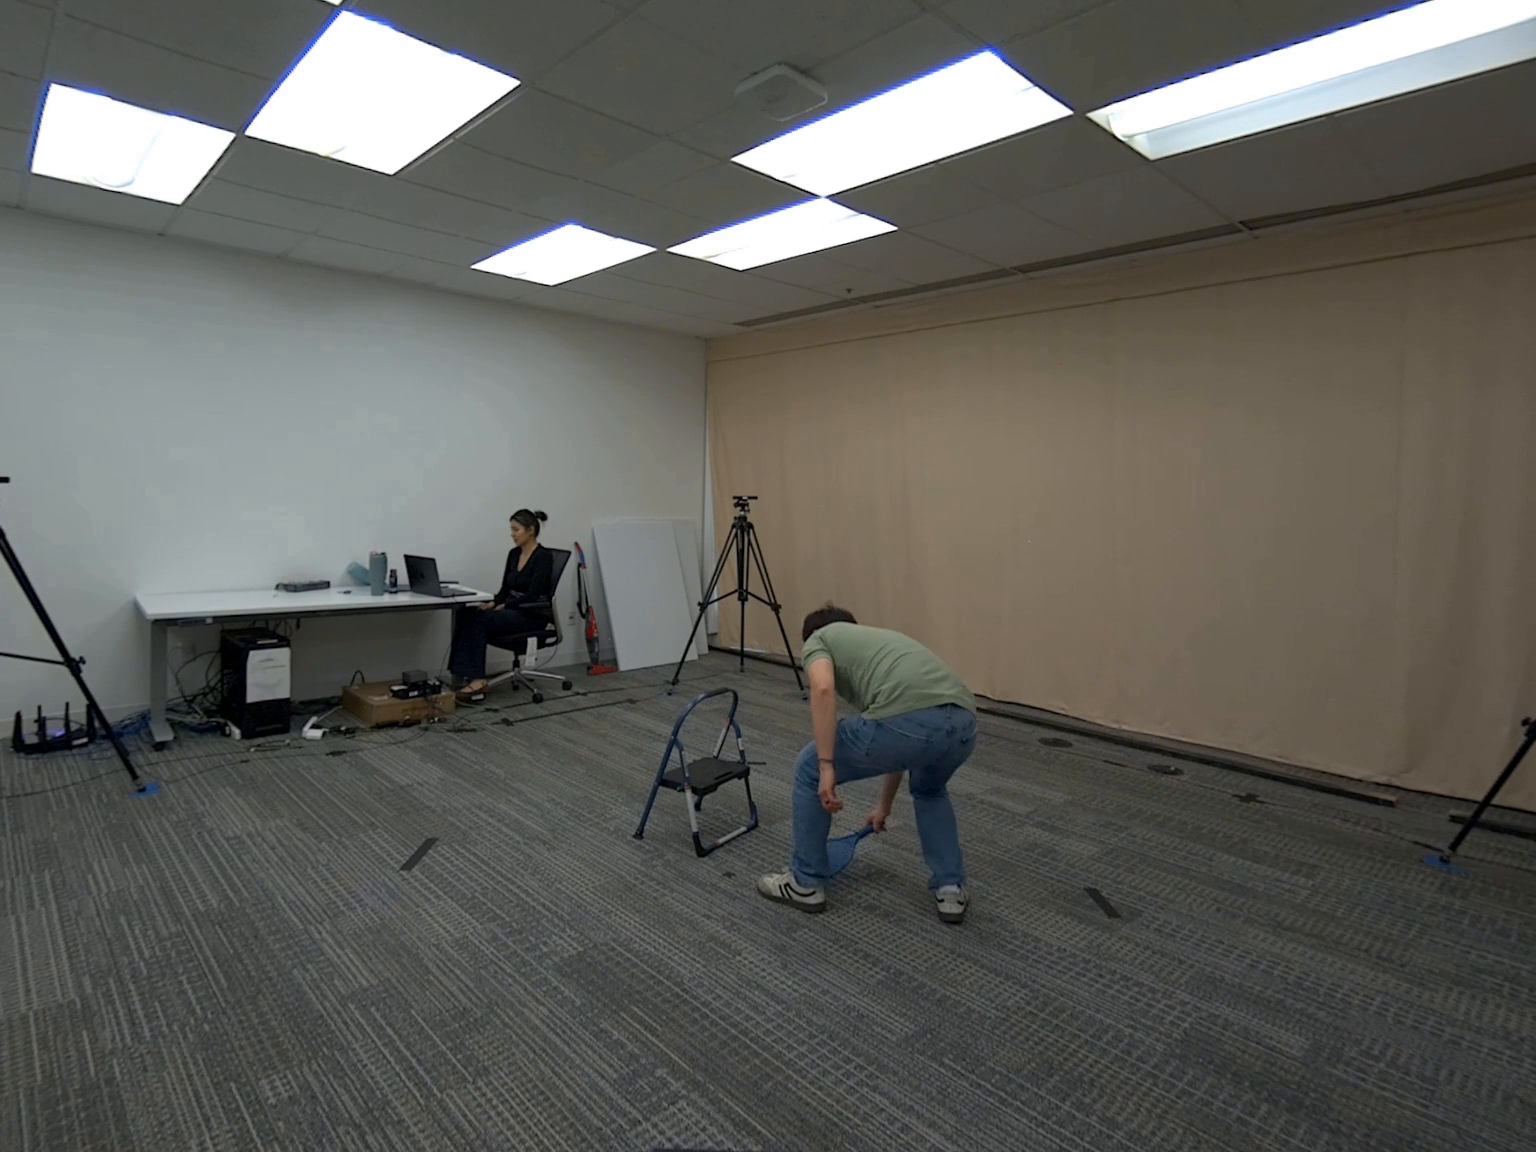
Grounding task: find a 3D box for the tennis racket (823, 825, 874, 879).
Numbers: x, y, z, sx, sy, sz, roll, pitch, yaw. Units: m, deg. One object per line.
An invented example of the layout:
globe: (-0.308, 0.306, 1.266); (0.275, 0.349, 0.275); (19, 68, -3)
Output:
tennis racket: (0.253, 0.994, 3.128); (0.428, 0.031, 0.218); (-23, 15, -29)
